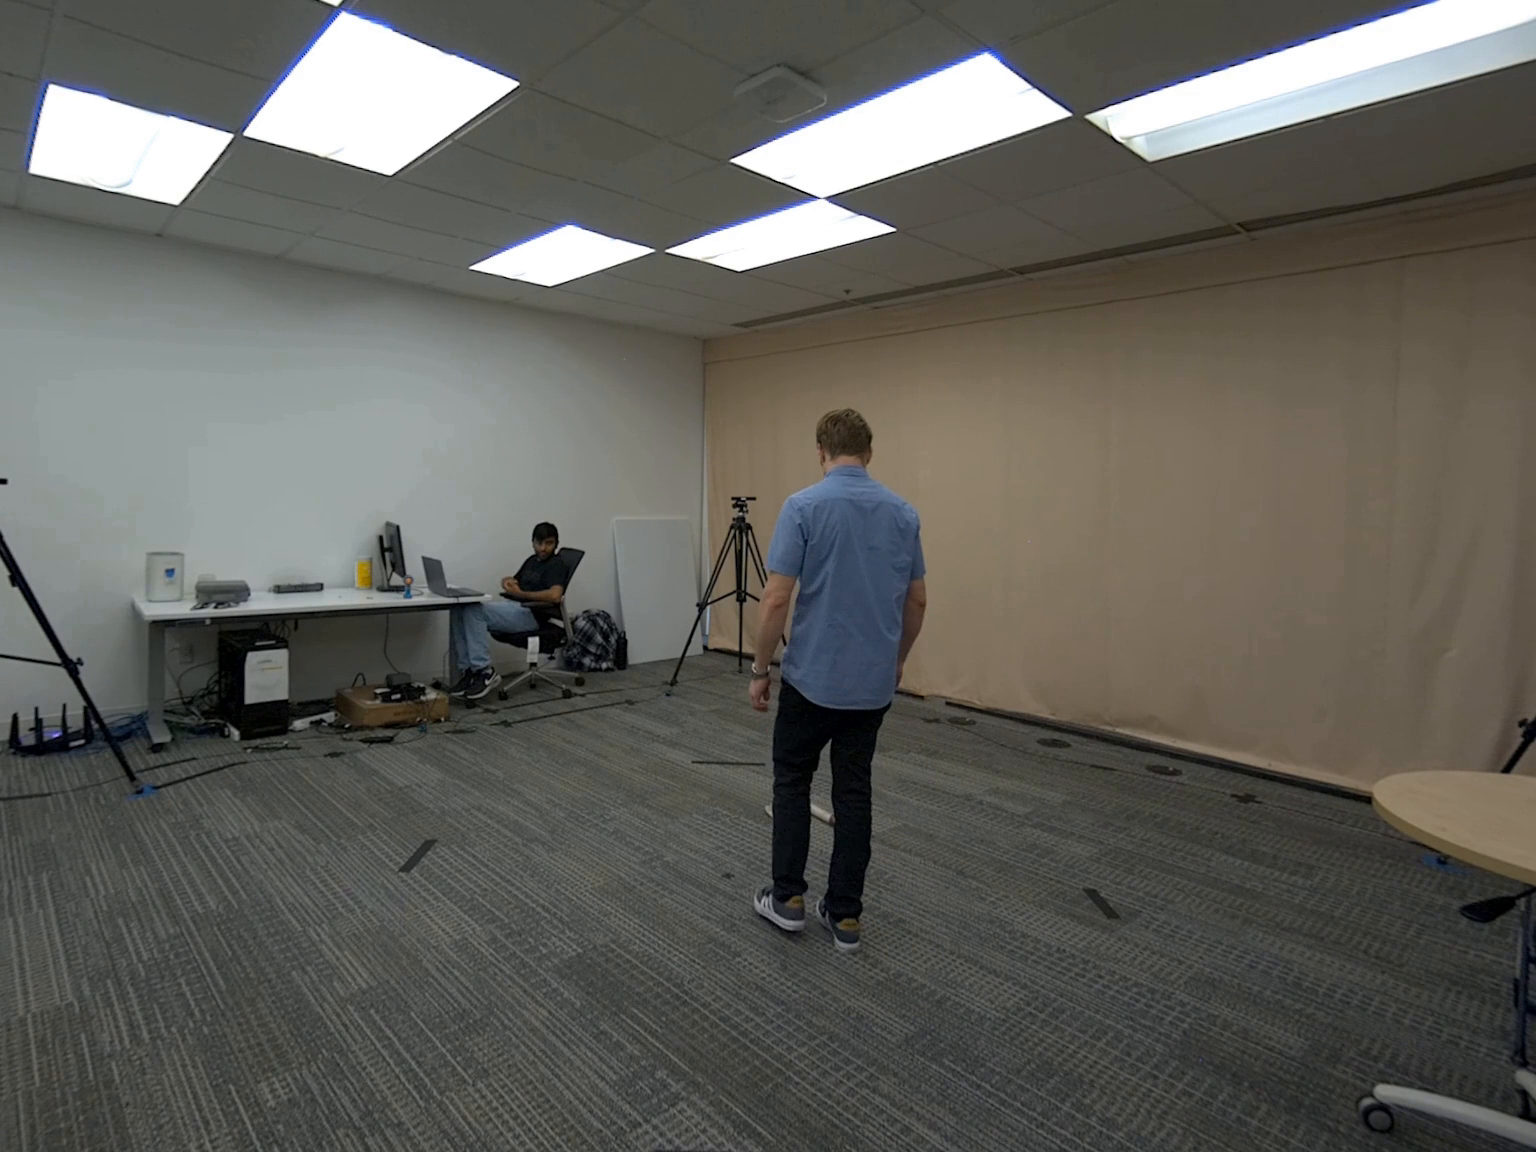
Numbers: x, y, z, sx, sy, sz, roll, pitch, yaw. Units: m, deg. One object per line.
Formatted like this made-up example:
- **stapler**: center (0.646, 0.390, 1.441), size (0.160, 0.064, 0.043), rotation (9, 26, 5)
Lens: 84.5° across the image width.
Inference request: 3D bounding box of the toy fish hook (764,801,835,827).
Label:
- **toy fish hook**: center (0.202, 1.057, 3.630), size (0.519, 0.048, 0.220), rotation (6, 13, 44)
